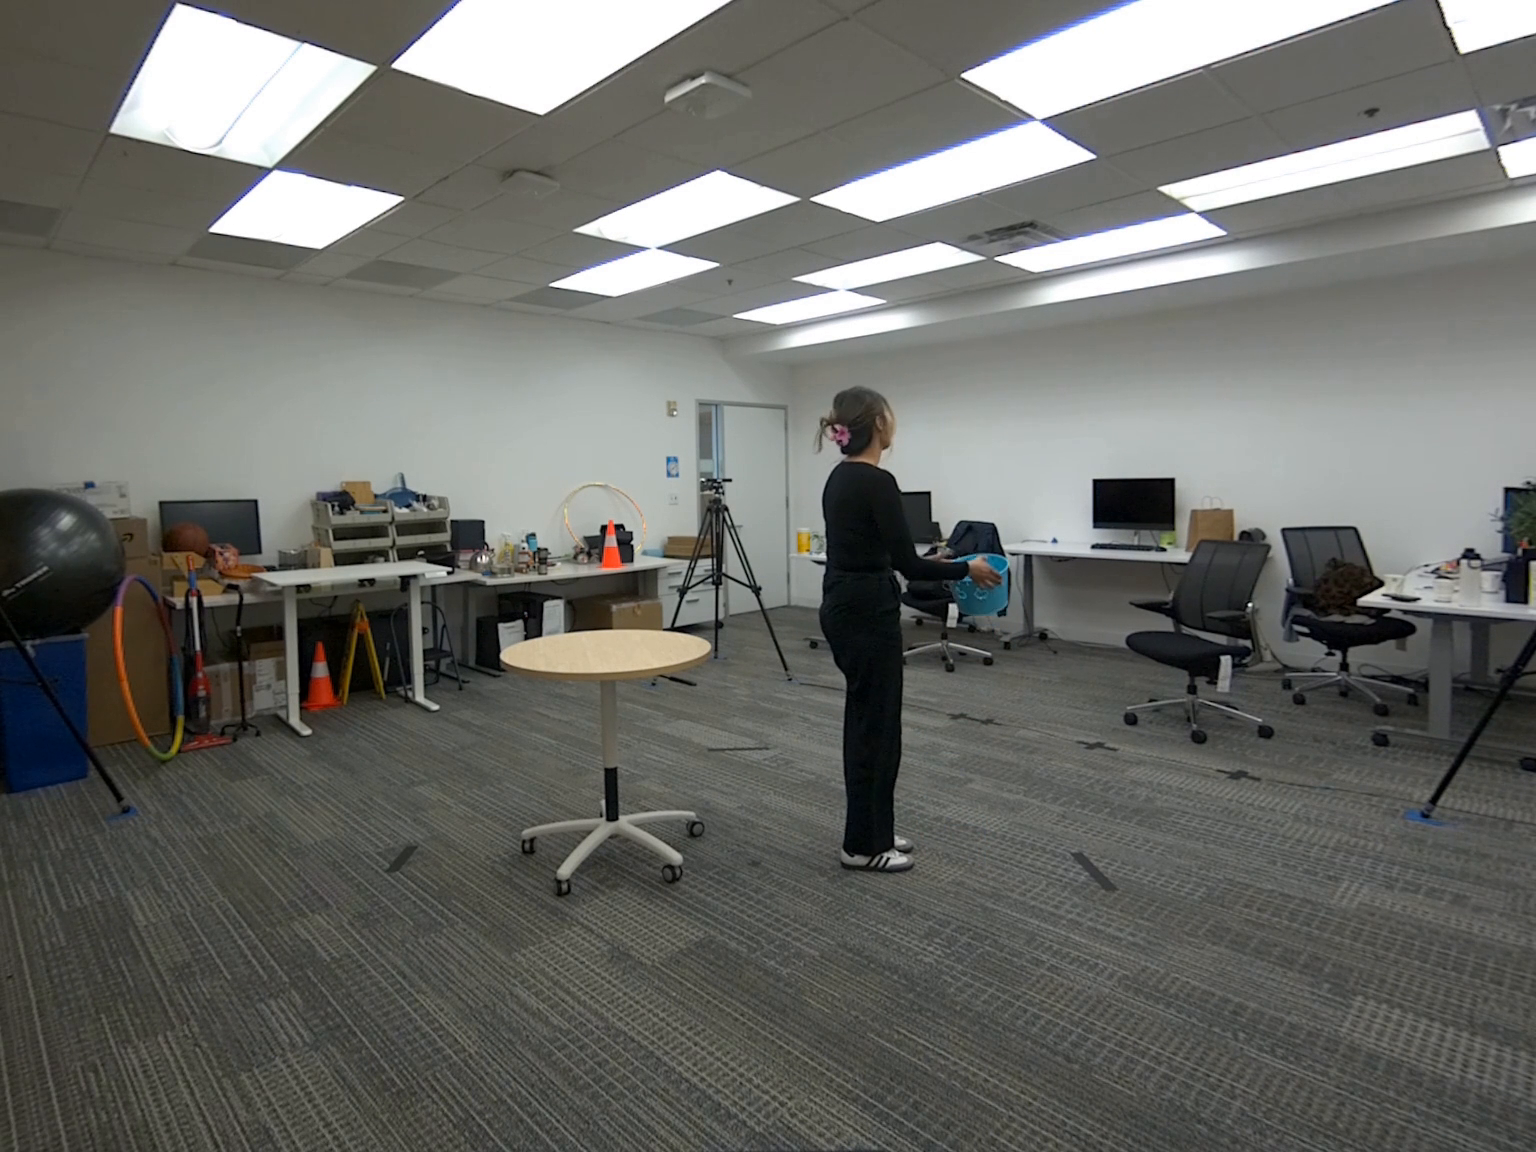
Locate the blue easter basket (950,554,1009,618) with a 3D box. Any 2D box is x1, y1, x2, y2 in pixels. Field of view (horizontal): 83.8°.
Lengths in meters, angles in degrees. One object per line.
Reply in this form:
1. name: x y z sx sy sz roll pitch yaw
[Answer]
1. blue easter basket: 0.766 0.032 3.124 0.244 0.153 0.247 -12 18 2
